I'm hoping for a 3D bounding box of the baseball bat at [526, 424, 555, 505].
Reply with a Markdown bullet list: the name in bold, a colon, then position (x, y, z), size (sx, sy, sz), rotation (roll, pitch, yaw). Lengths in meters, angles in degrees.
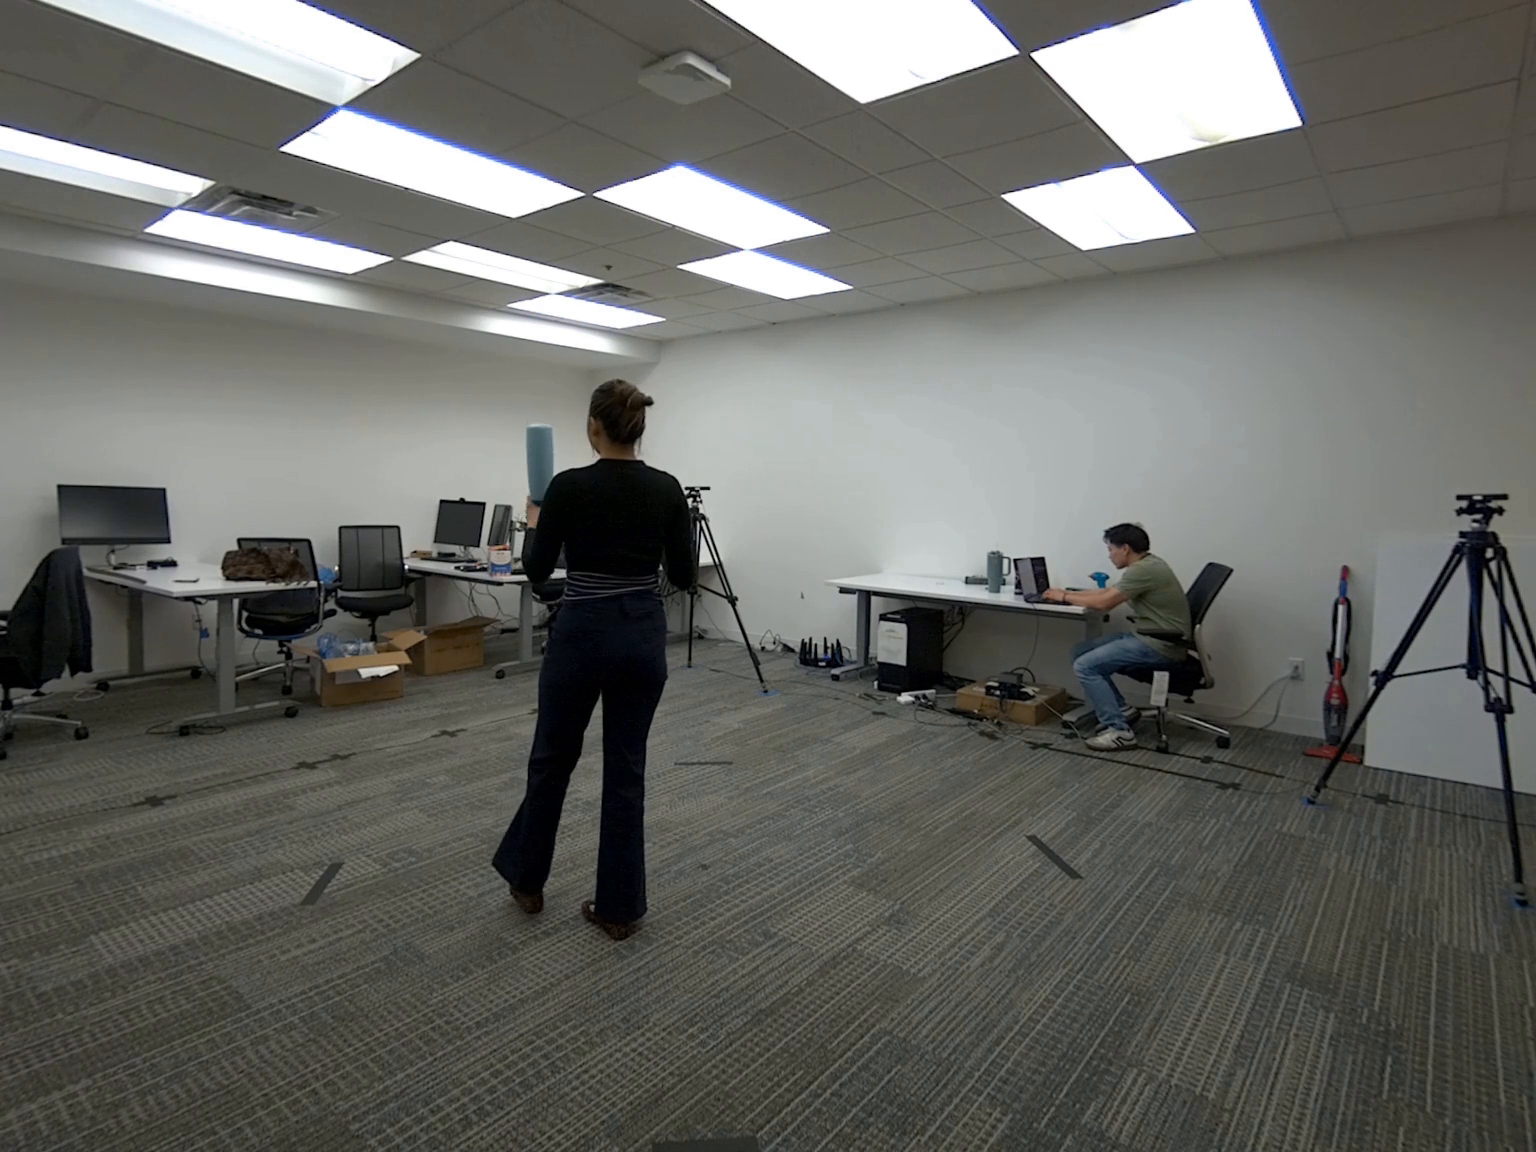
- **baseball bat**: position (-0.784, -0.233, 2.871), size (0.089, 0.538, 0.090), rotation (-1, 9, -2)
